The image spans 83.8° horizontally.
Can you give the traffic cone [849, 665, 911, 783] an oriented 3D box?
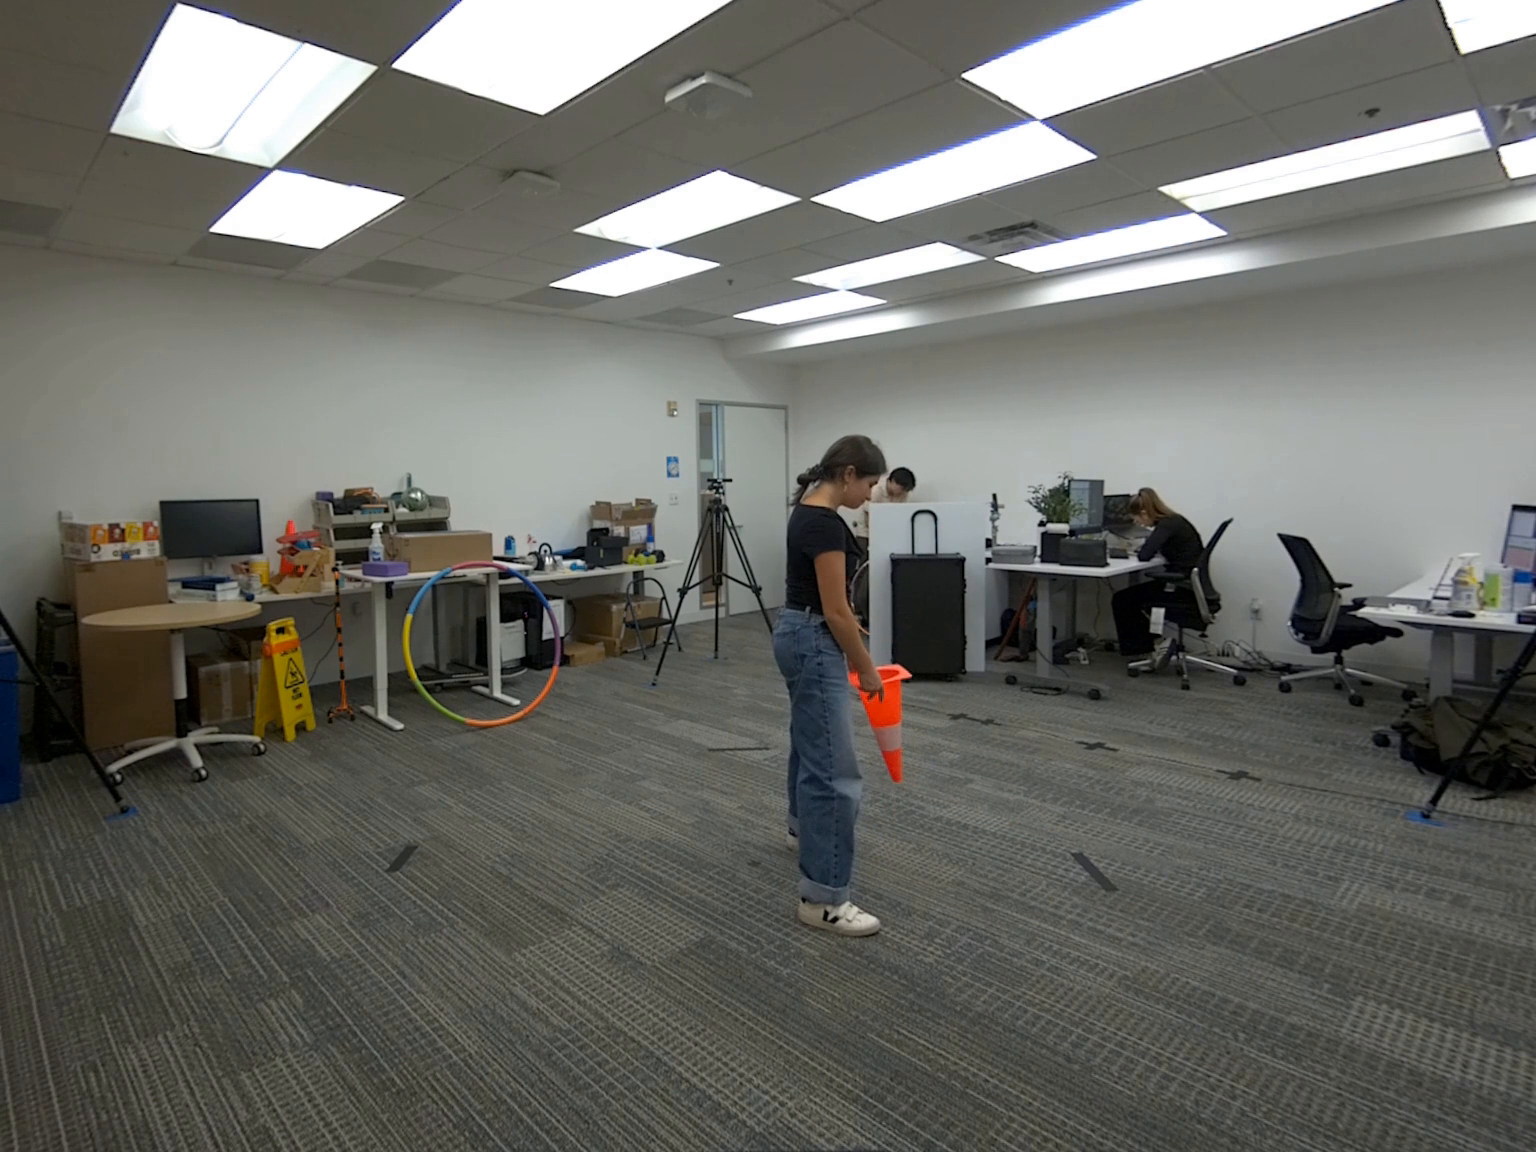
[{"bbox_3d":[0.413,0.531,2.943,0.207,0.381,0.203,-11,7,12],"label":"traffic cone"}]
